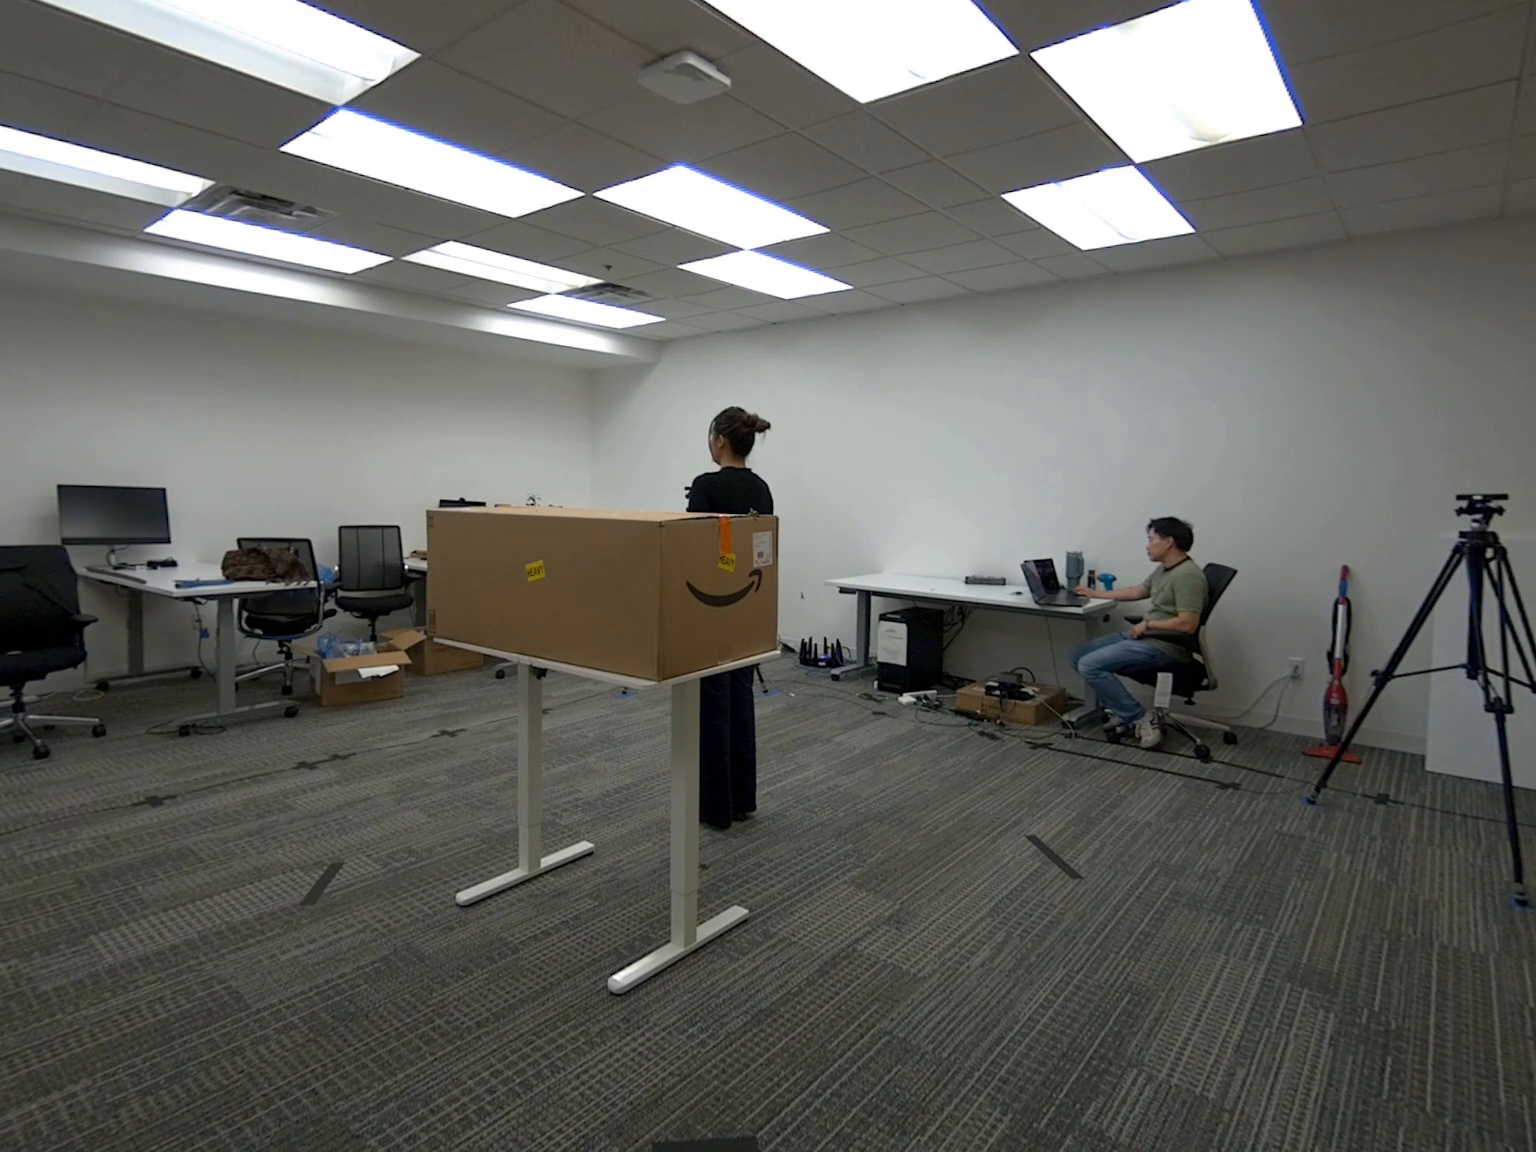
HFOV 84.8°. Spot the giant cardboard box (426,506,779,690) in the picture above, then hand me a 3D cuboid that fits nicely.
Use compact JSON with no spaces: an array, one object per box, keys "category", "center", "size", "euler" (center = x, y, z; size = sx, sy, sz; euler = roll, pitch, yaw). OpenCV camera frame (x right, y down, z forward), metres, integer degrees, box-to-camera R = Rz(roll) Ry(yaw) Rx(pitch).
[{"category":"giant cardboard box","center":[-0.542,0.003,2.748],"size":[1.059,0.424,0.562],"euler":[5,7,35]}]
